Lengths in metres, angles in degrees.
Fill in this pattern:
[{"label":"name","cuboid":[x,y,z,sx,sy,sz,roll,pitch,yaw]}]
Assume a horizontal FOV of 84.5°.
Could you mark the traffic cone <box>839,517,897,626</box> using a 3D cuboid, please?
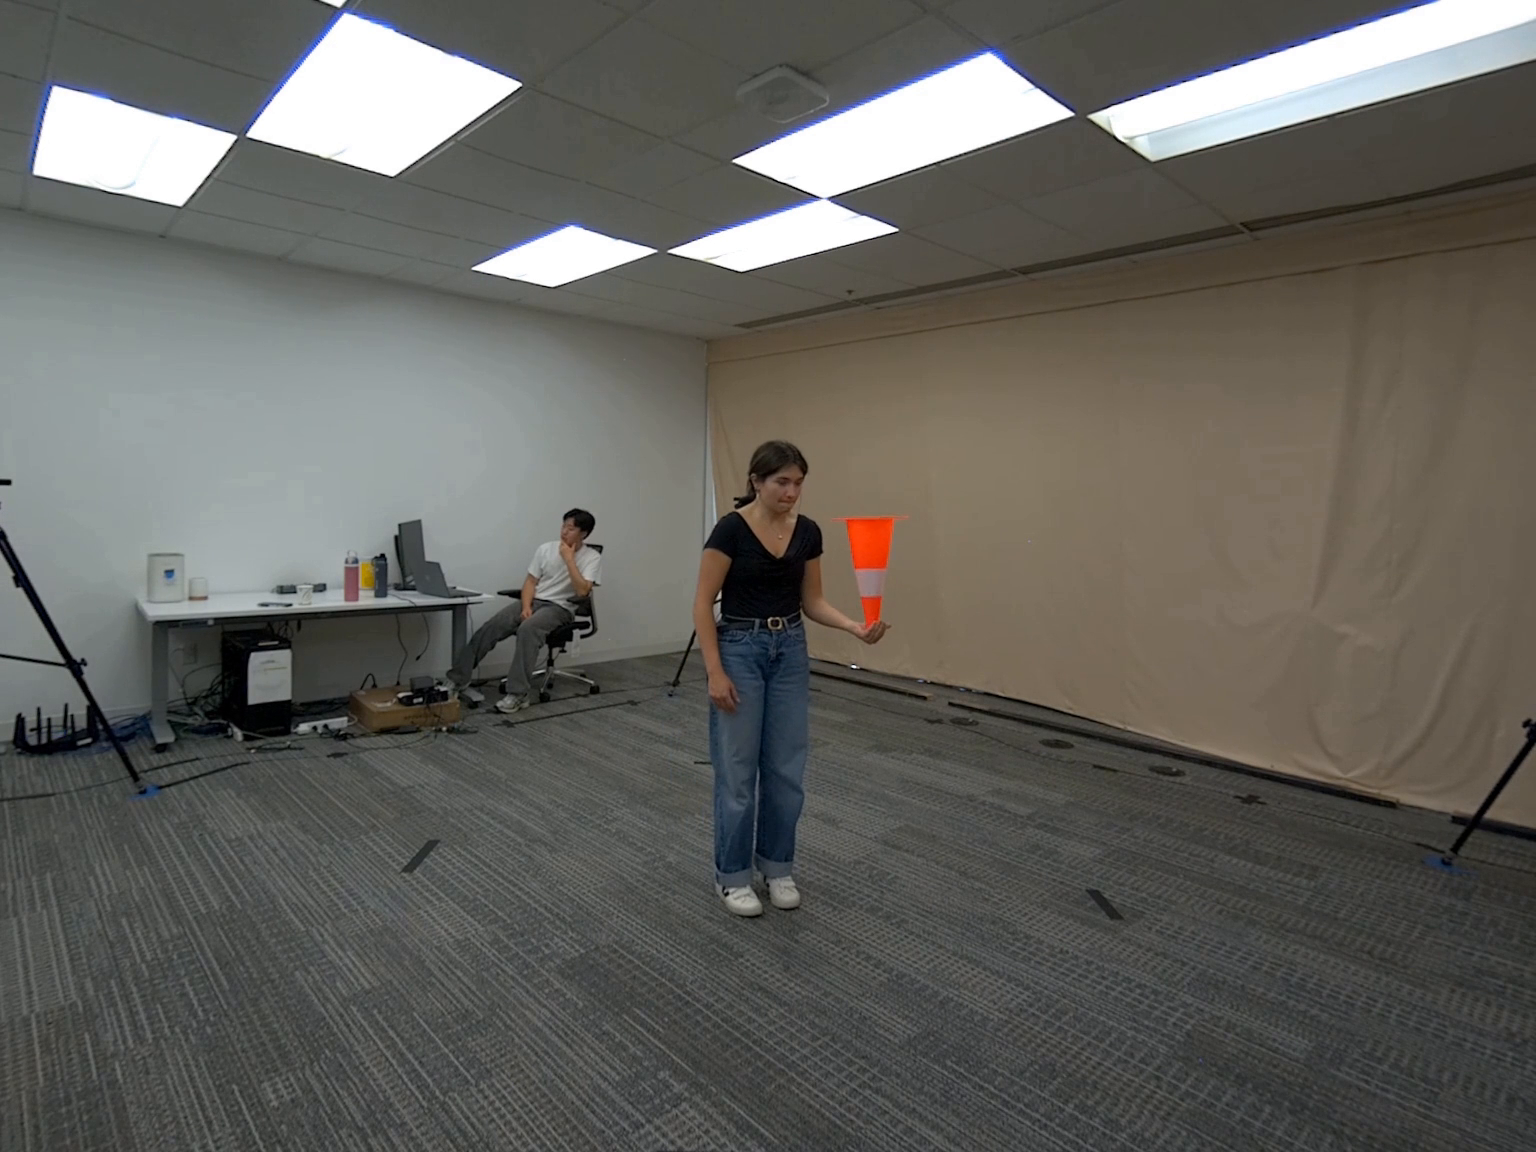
[{"label":"traffic cone","cuboid":[0.331,0.013,2.759,0.206,0.384,0.201,-4,-1,22]}]
